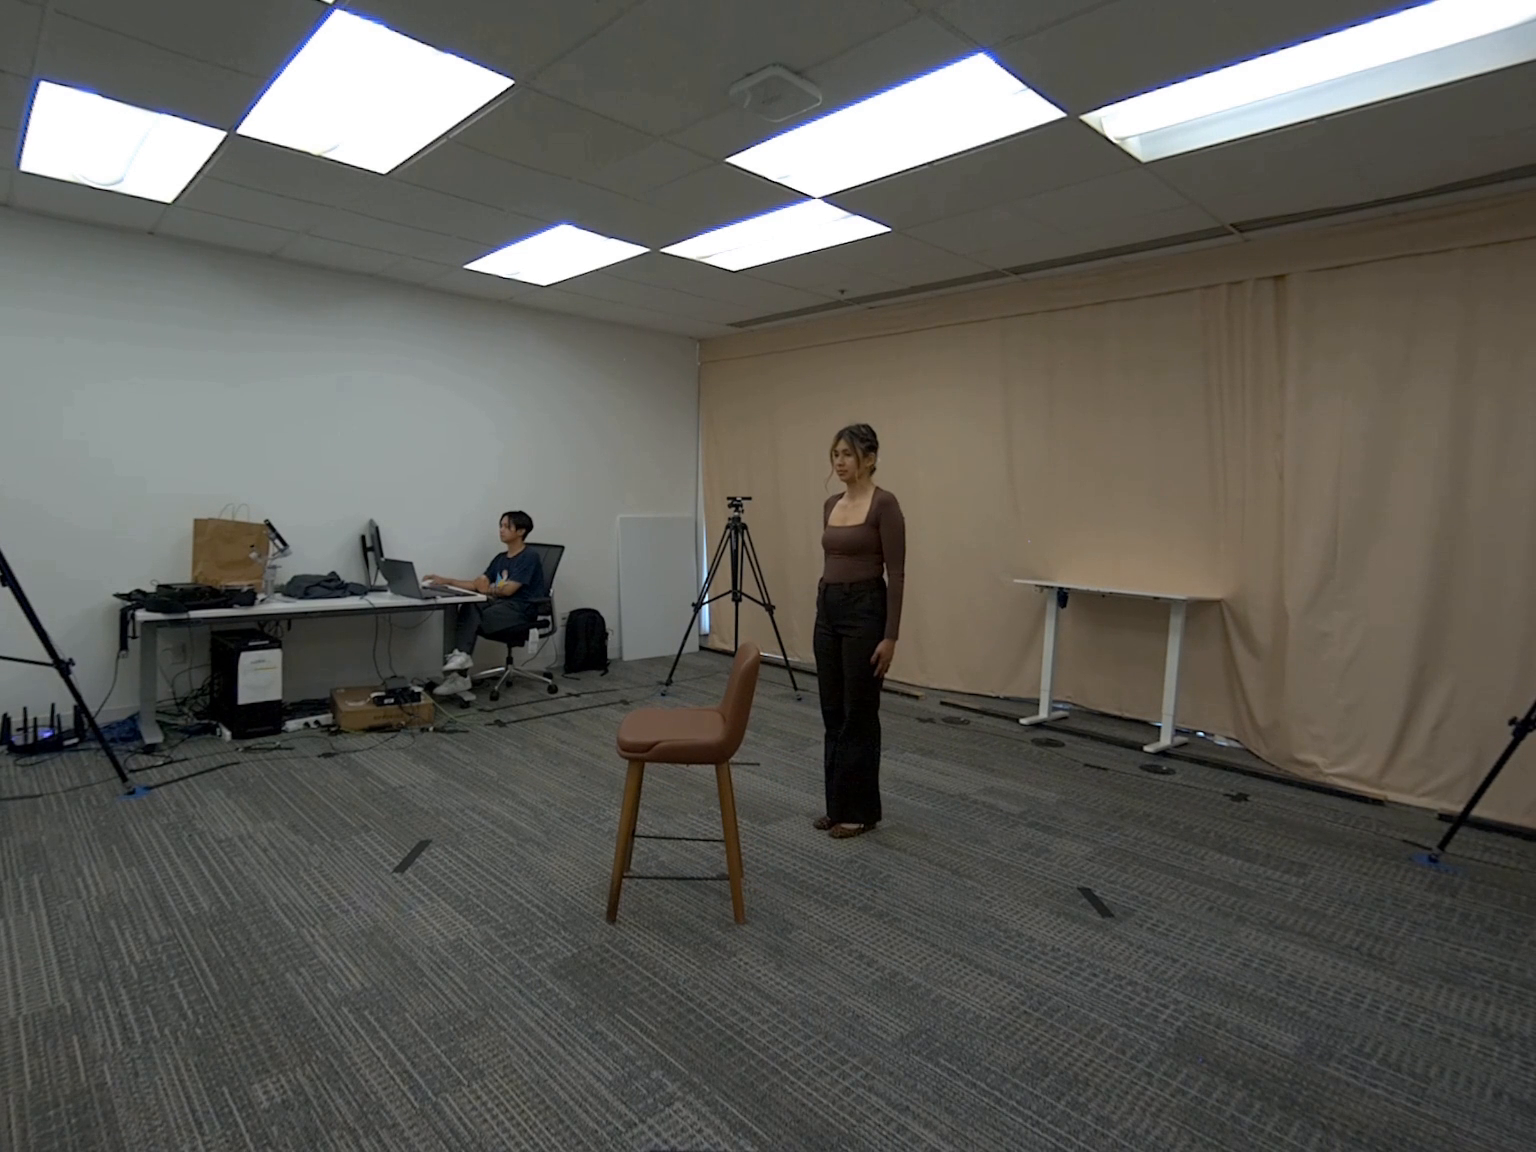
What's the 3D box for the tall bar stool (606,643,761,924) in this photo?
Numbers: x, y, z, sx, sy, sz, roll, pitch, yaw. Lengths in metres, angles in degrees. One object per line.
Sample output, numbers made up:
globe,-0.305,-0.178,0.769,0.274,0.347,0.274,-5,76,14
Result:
tall bar stool,-0.297,0.688,2.908,0.467,0.887,0.458,3,4,-2
